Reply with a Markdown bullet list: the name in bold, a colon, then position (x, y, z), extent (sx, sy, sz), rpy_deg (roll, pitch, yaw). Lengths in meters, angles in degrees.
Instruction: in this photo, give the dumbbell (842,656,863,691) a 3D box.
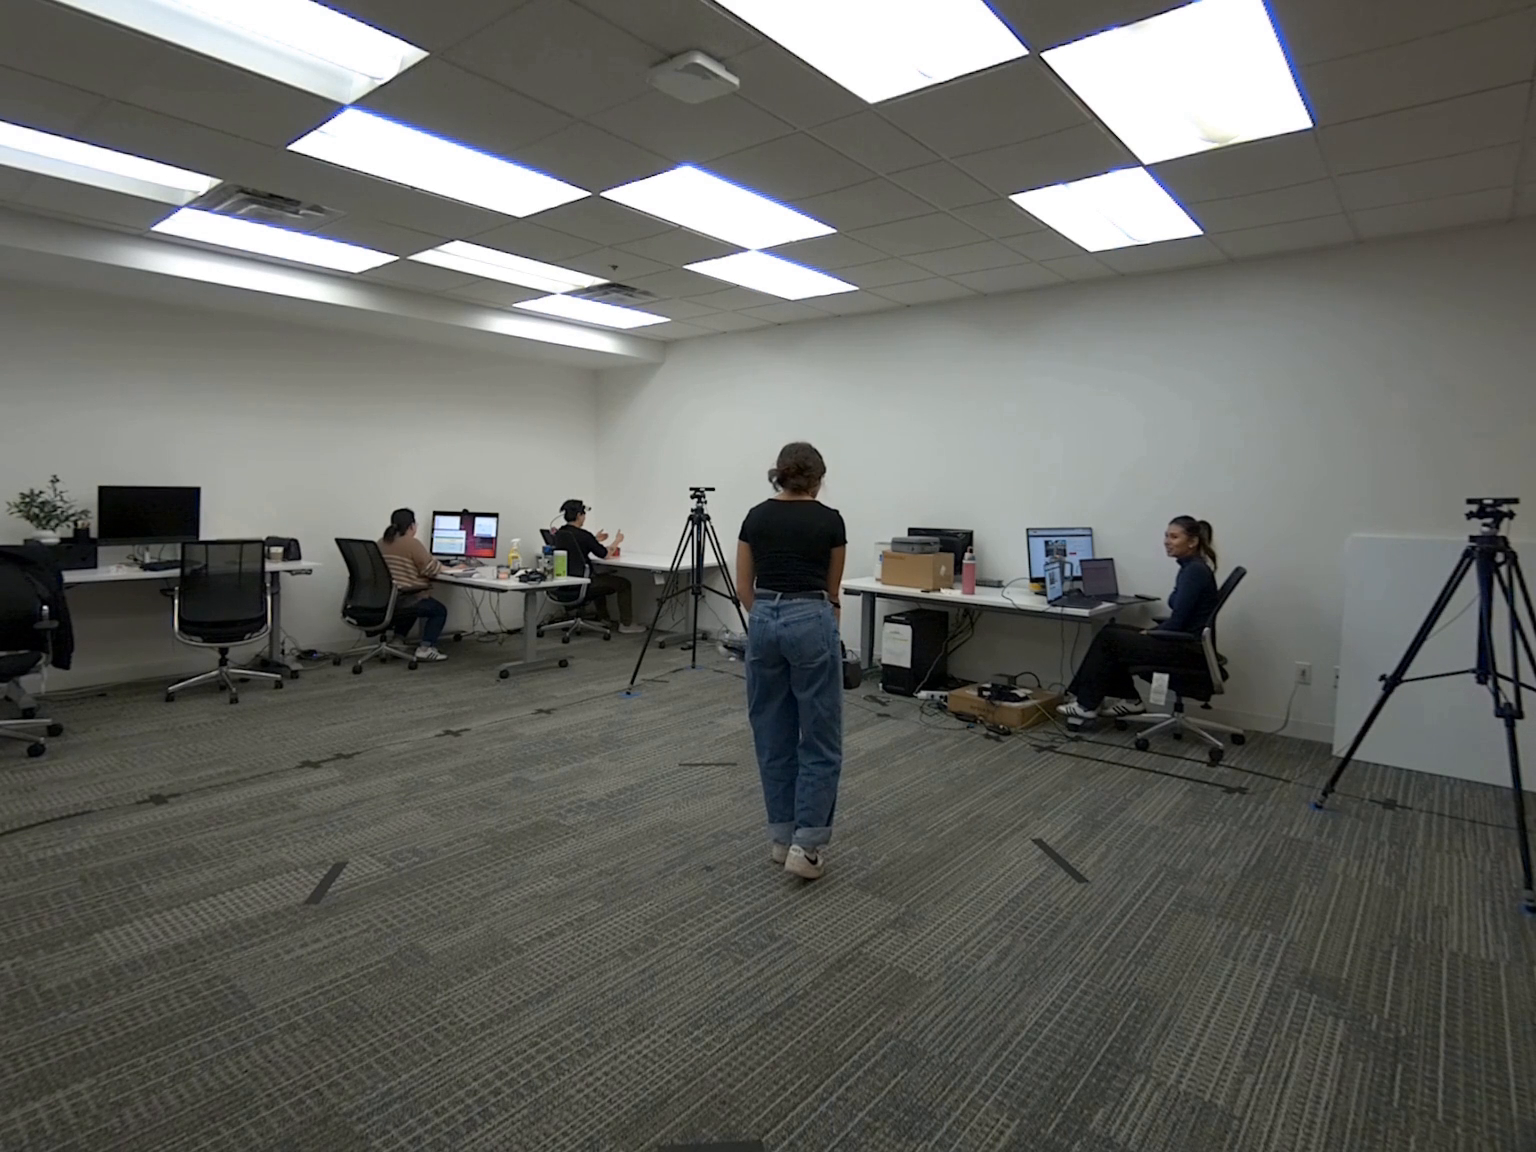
- **dumbbell**: position (0.206, 0.372, 3.277), extent (0.302, 0.124, 0.104), rpy_deg (-1, -29, 39)
